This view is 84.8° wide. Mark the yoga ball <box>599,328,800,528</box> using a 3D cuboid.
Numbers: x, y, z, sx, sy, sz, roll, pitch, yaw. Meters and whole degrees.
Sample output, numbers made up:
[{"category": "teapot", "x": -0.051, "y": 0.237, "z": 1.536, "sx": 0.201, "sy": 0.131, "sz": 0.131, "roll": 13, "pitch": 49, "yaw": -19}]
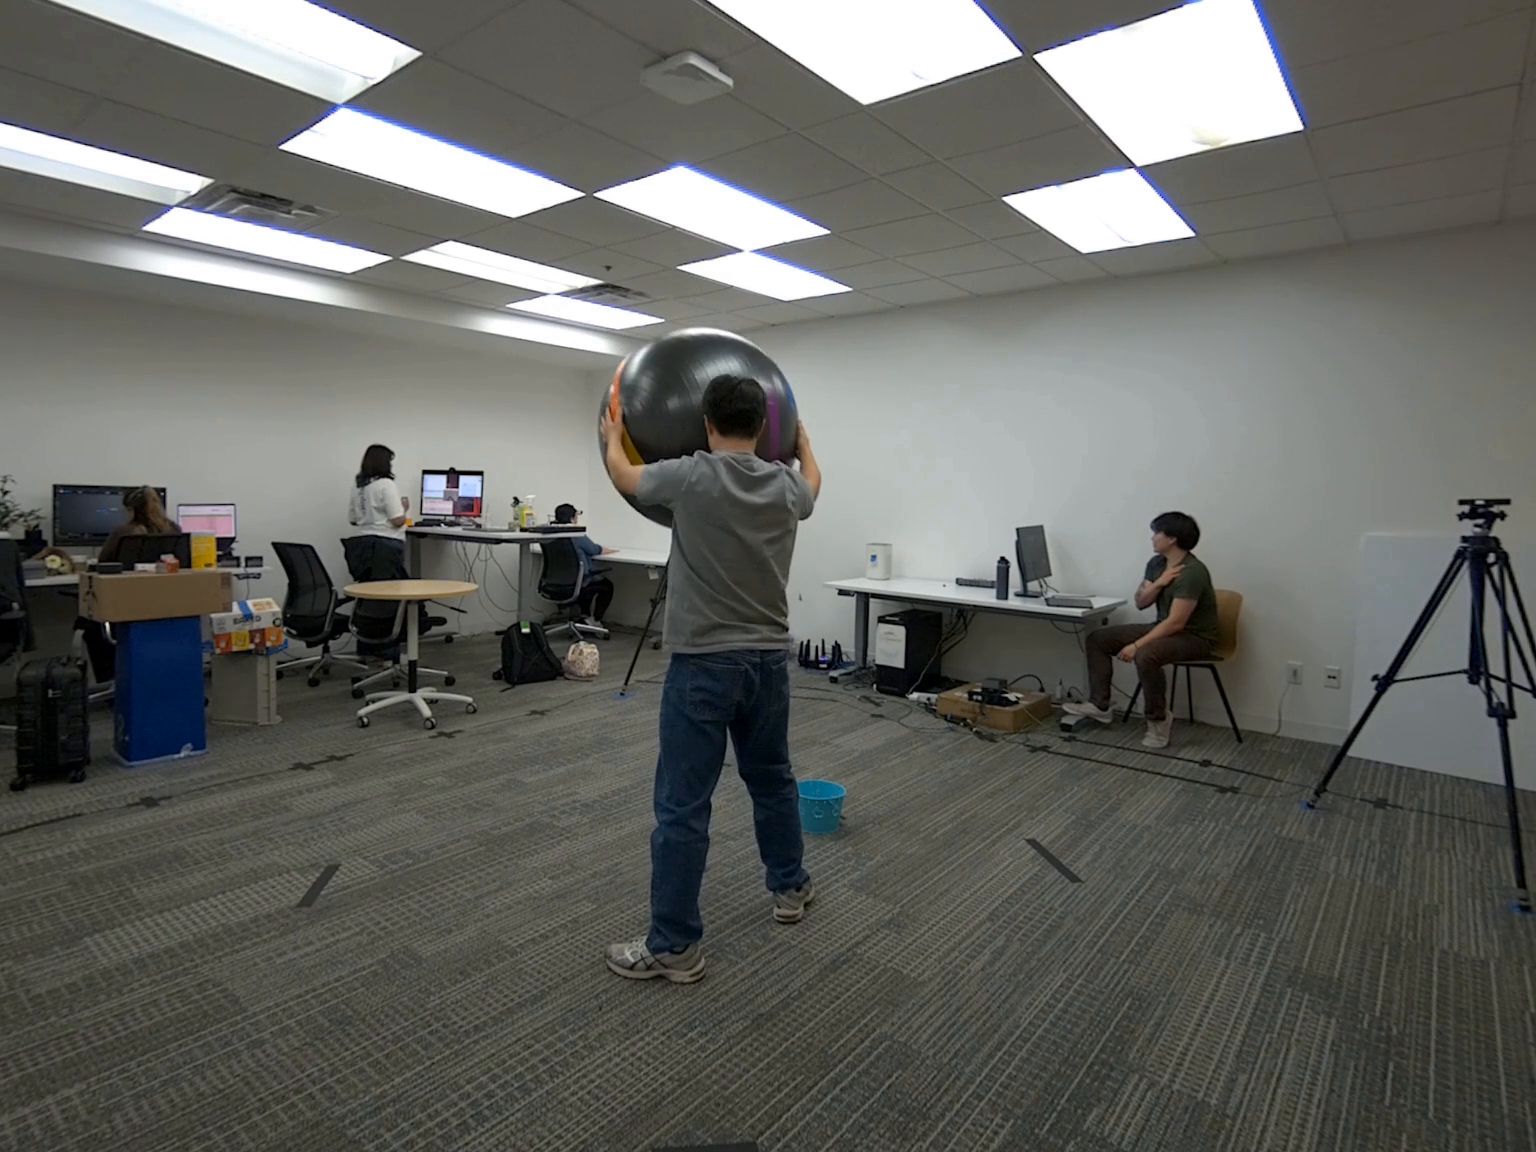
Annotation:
[{"category": "yoga ball", "x": -0.262, "y": -0.531, "z": 3.189, "sx": 0.757, "sy": 0.755, "sz": 0.762, "roll": 1, "pitch": 4, "yaw": -2}]
